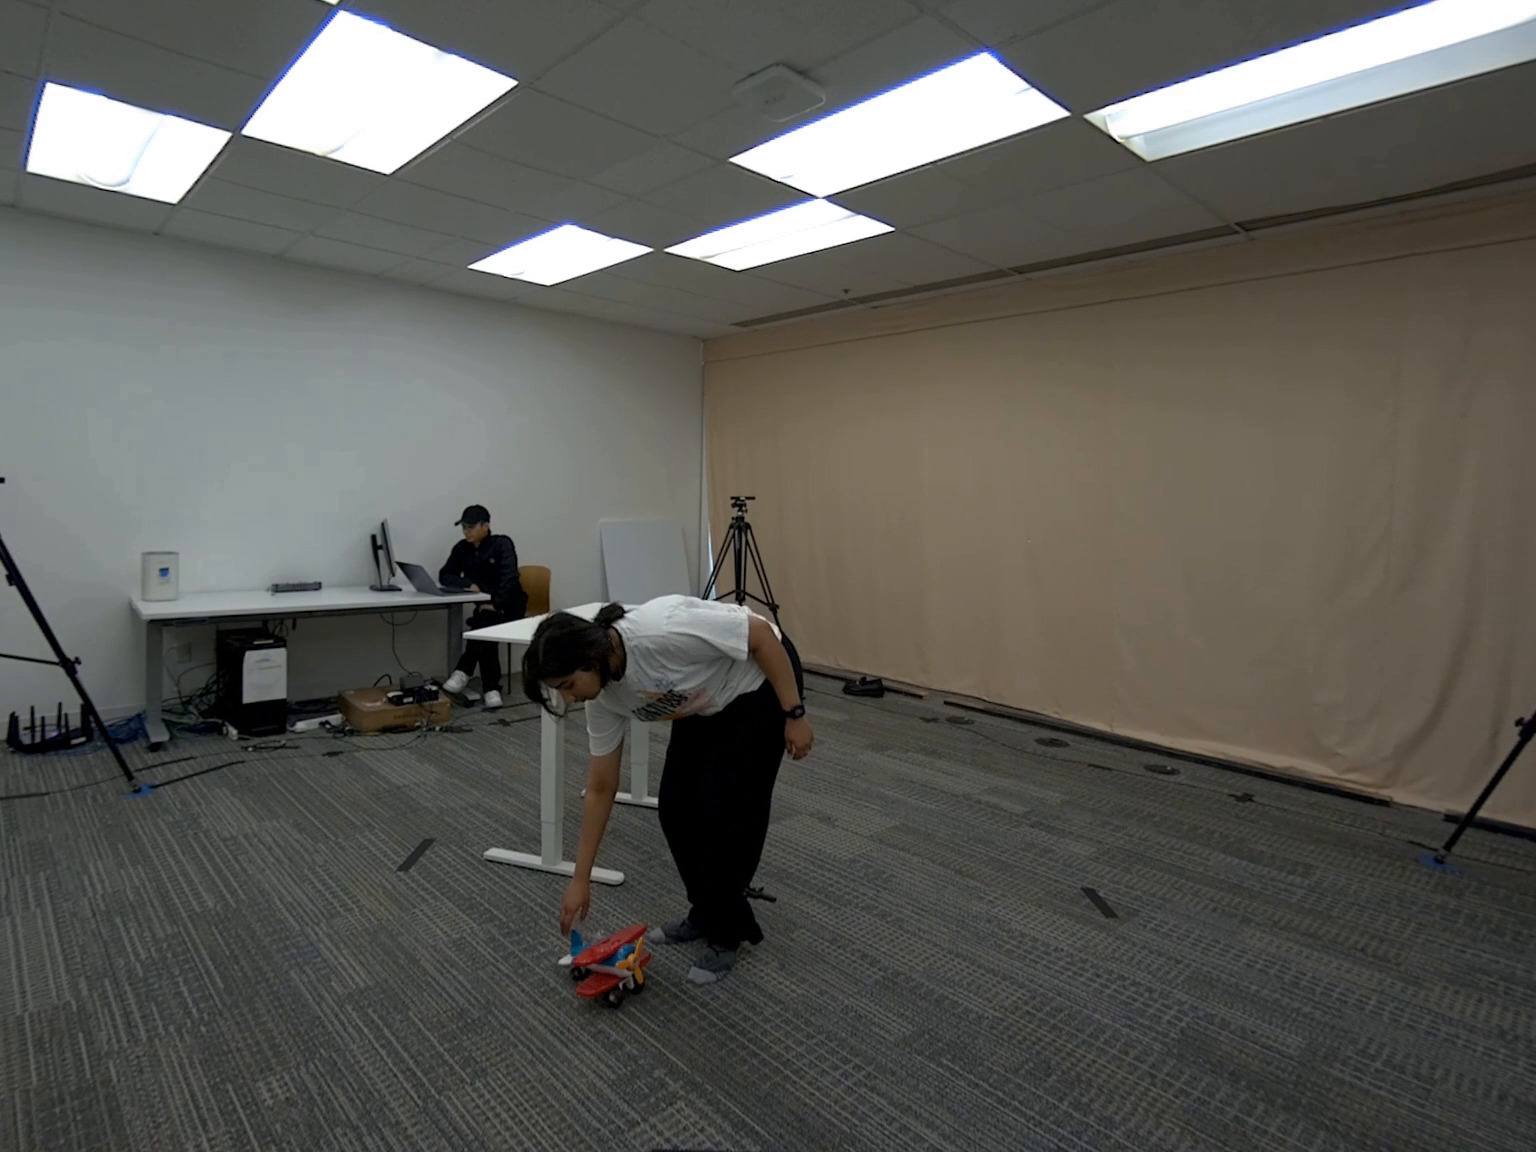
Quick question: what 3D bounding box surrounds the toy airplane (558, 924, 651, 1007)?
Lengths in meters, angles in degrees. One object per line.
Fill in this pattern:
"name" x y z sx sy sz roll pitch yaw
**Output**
"toy airplane" -0.478 1.091 2.351 0.261 0.156 0.250 2 6 7
